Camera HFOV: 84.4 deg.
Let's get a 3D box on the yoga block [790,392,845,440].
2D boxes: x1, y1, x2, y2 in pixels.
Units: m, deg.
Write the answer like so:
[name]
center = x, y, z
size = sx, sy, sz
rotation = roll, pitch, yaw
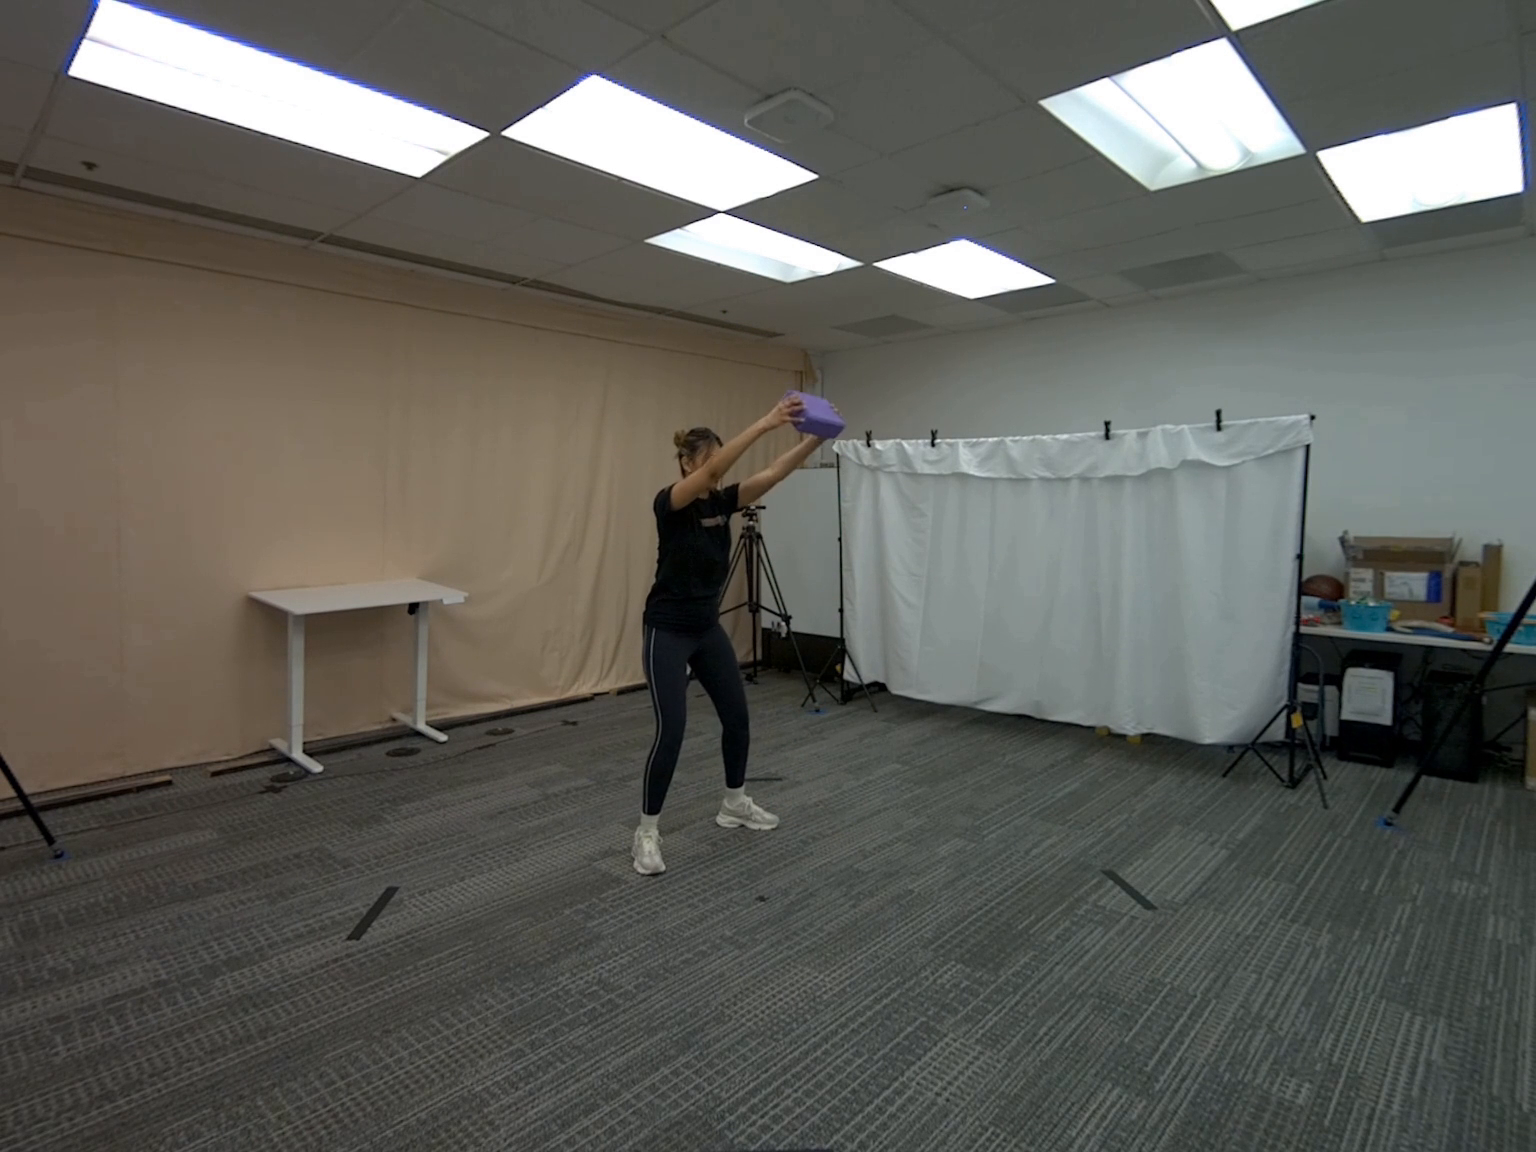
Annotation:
[yoga block]
center = 0.159, -0.573, 3.025
size = 0.222, 0.153, 0.077
rotation = 2, -44, -50
